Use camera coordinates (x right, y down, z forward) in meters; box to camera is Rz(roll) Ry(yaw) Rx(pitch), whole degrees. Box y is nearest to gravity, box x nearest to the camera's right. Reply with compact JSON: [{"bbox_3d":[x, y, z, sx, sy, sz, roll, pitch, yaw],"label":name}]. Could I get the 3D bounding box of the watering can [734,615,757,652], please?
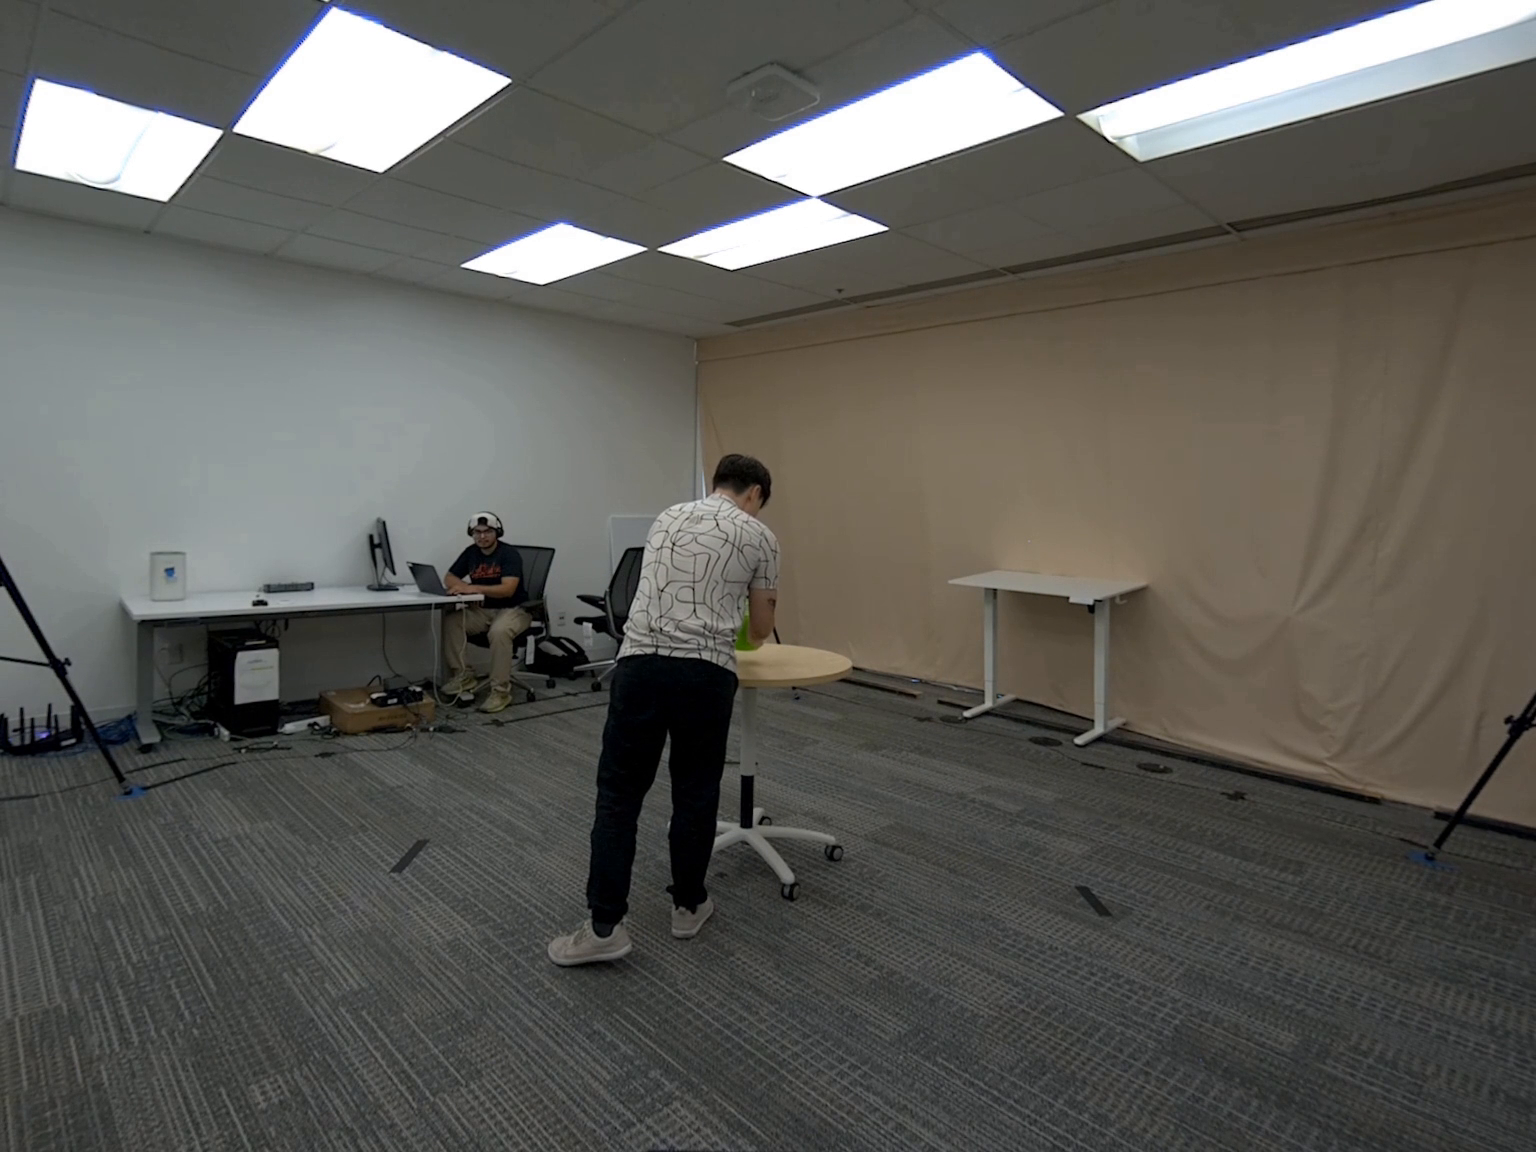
[{"bbox_3d":[-0.054,0.186,3.132,0.100,0.177,0.273,2,2,27],"label":"watering can"}]
